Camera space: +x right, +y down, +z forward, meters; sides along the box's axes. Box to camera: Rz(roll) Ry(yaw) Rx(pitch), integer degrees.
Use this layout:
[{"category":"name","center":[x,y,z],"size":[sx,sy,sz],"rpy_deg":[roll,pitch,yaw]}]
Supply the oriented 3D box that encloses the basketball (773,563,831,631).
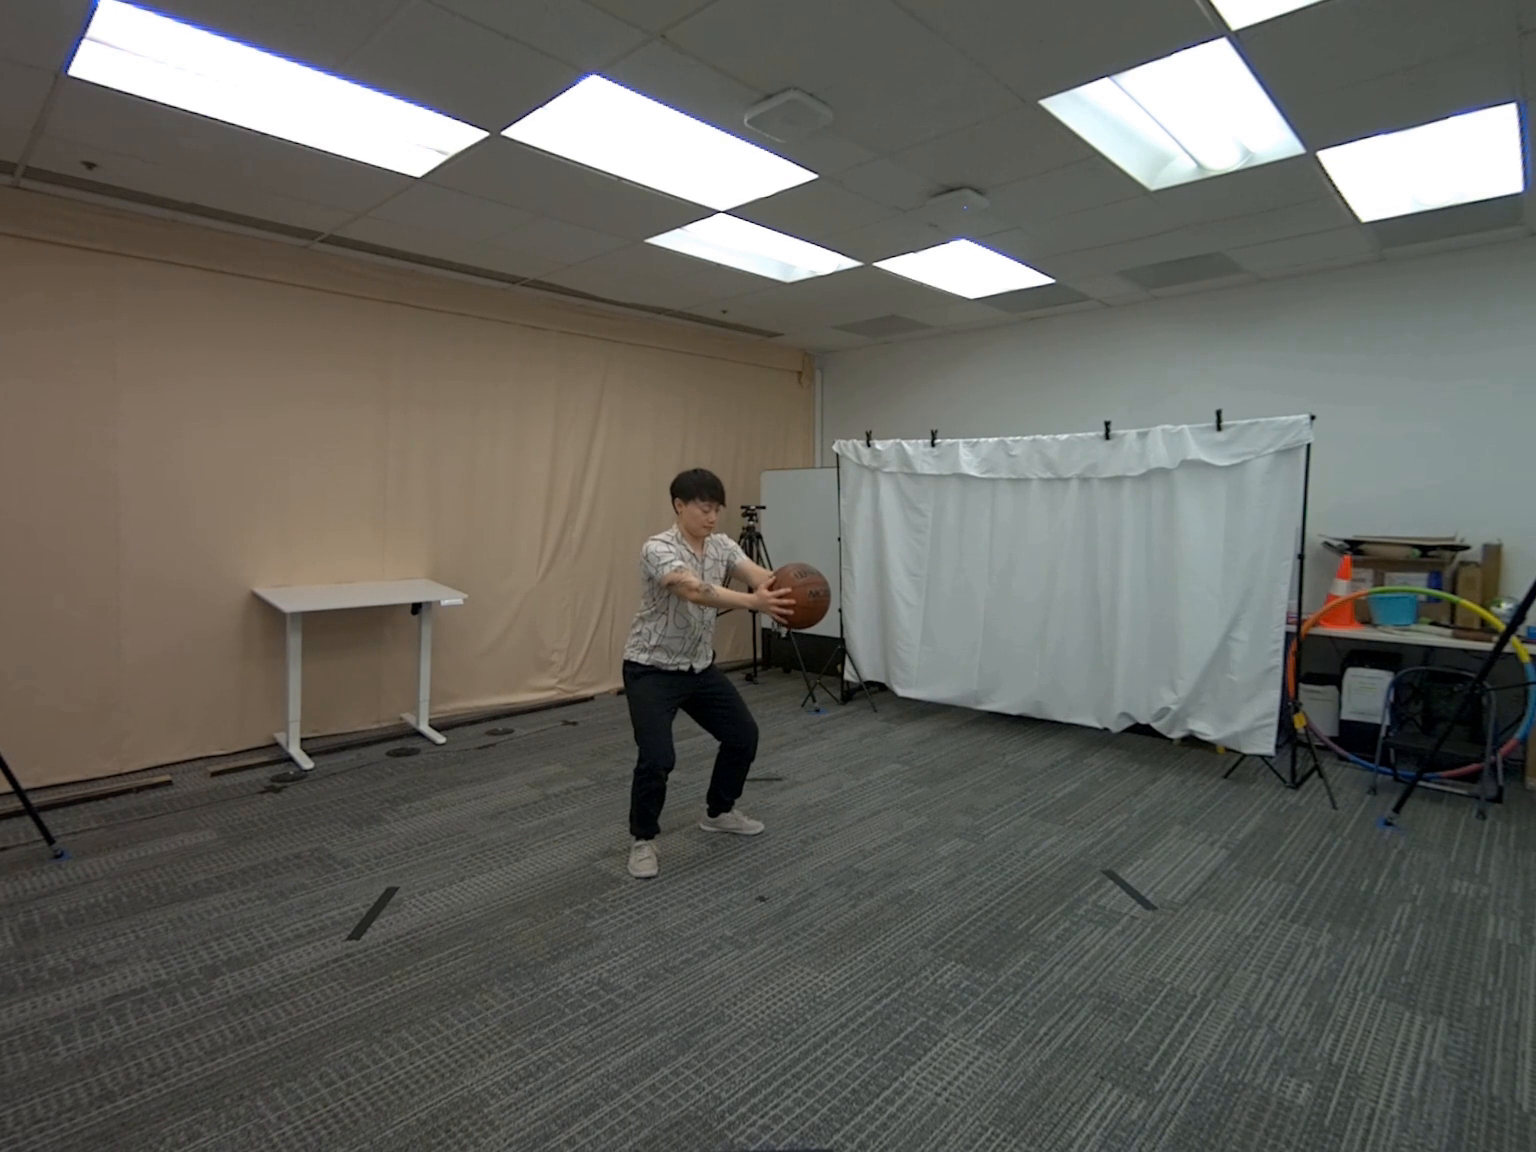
[{"category":"basketball","center":[0.109,0.073,3.001],"size":[0.236,0.235,0.237],"rpy_deg":[0,4,-2]}]
